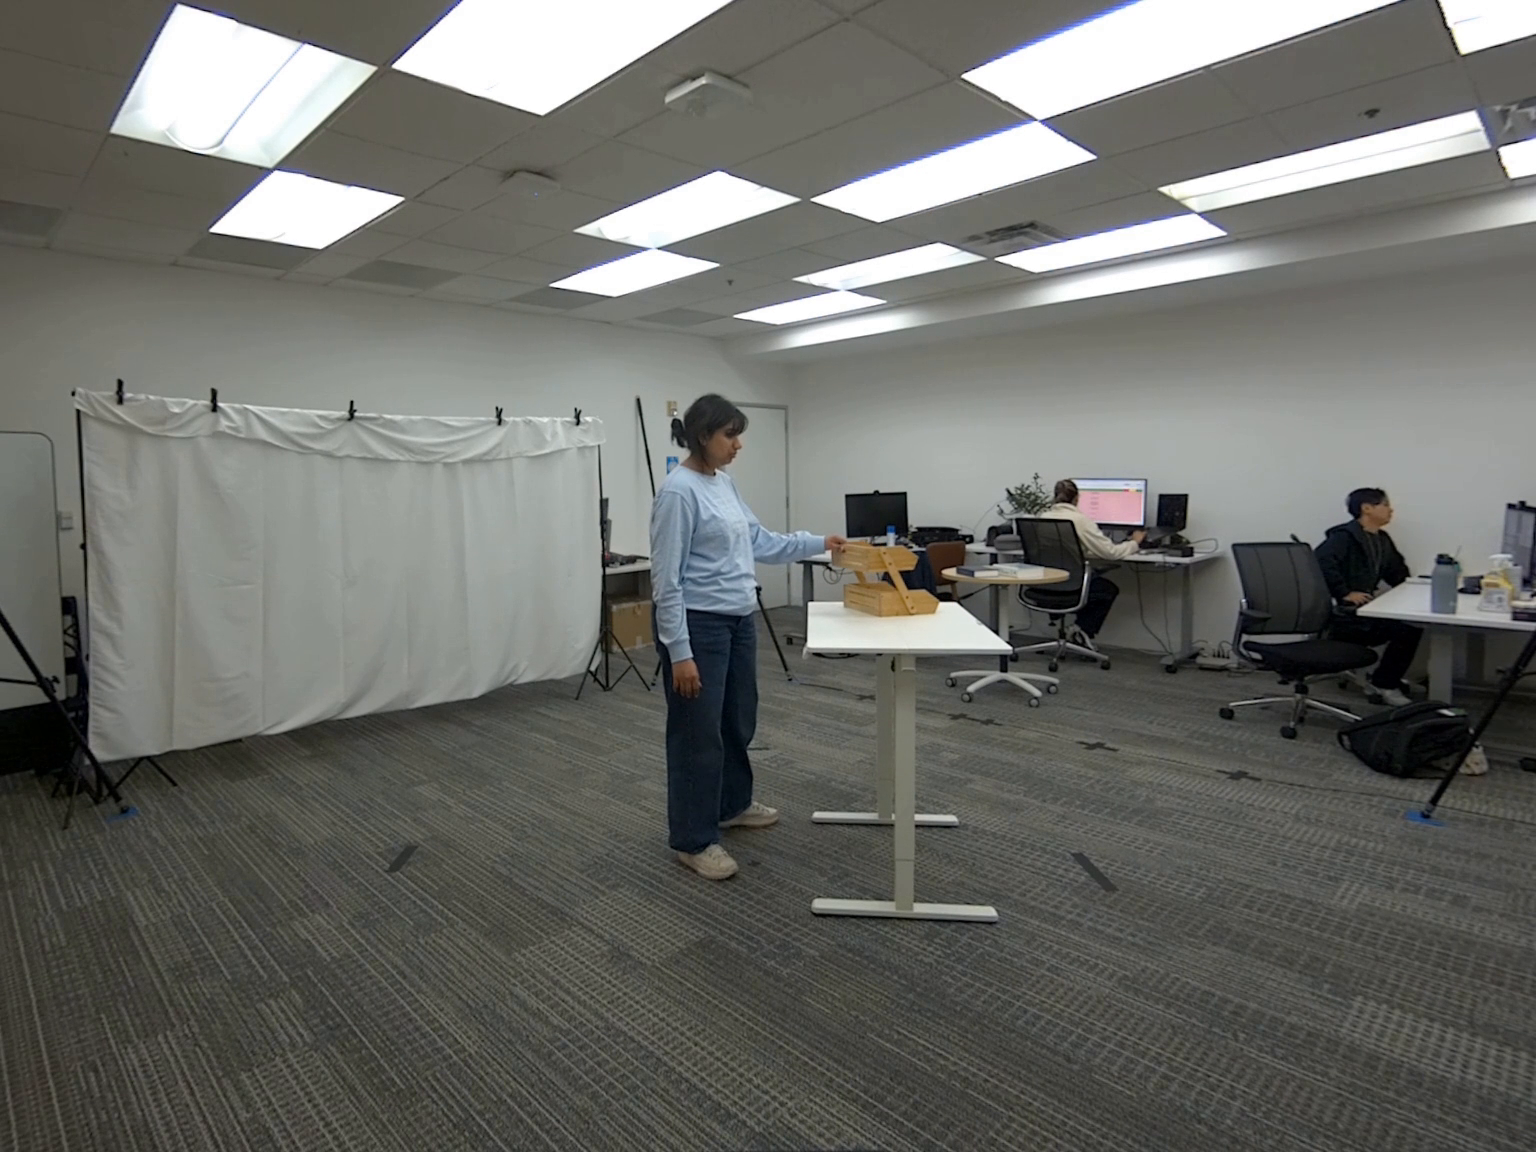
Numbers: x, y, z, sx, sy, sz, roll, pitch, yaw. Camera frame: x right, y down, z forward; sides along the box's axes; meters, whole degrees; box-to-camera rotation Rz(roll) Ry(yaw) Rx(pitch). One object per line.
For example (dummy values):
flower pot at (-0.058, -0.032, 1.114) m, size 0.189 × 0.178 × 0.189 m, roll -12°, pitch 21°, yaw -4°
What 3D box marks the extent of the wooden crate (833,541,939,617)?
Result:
wooden crate at (0.451, 0.002, 3.304) m, size 0.297 × 0.272 × 0.331 m, roll -3°, pitch 6°, yaw -20°
